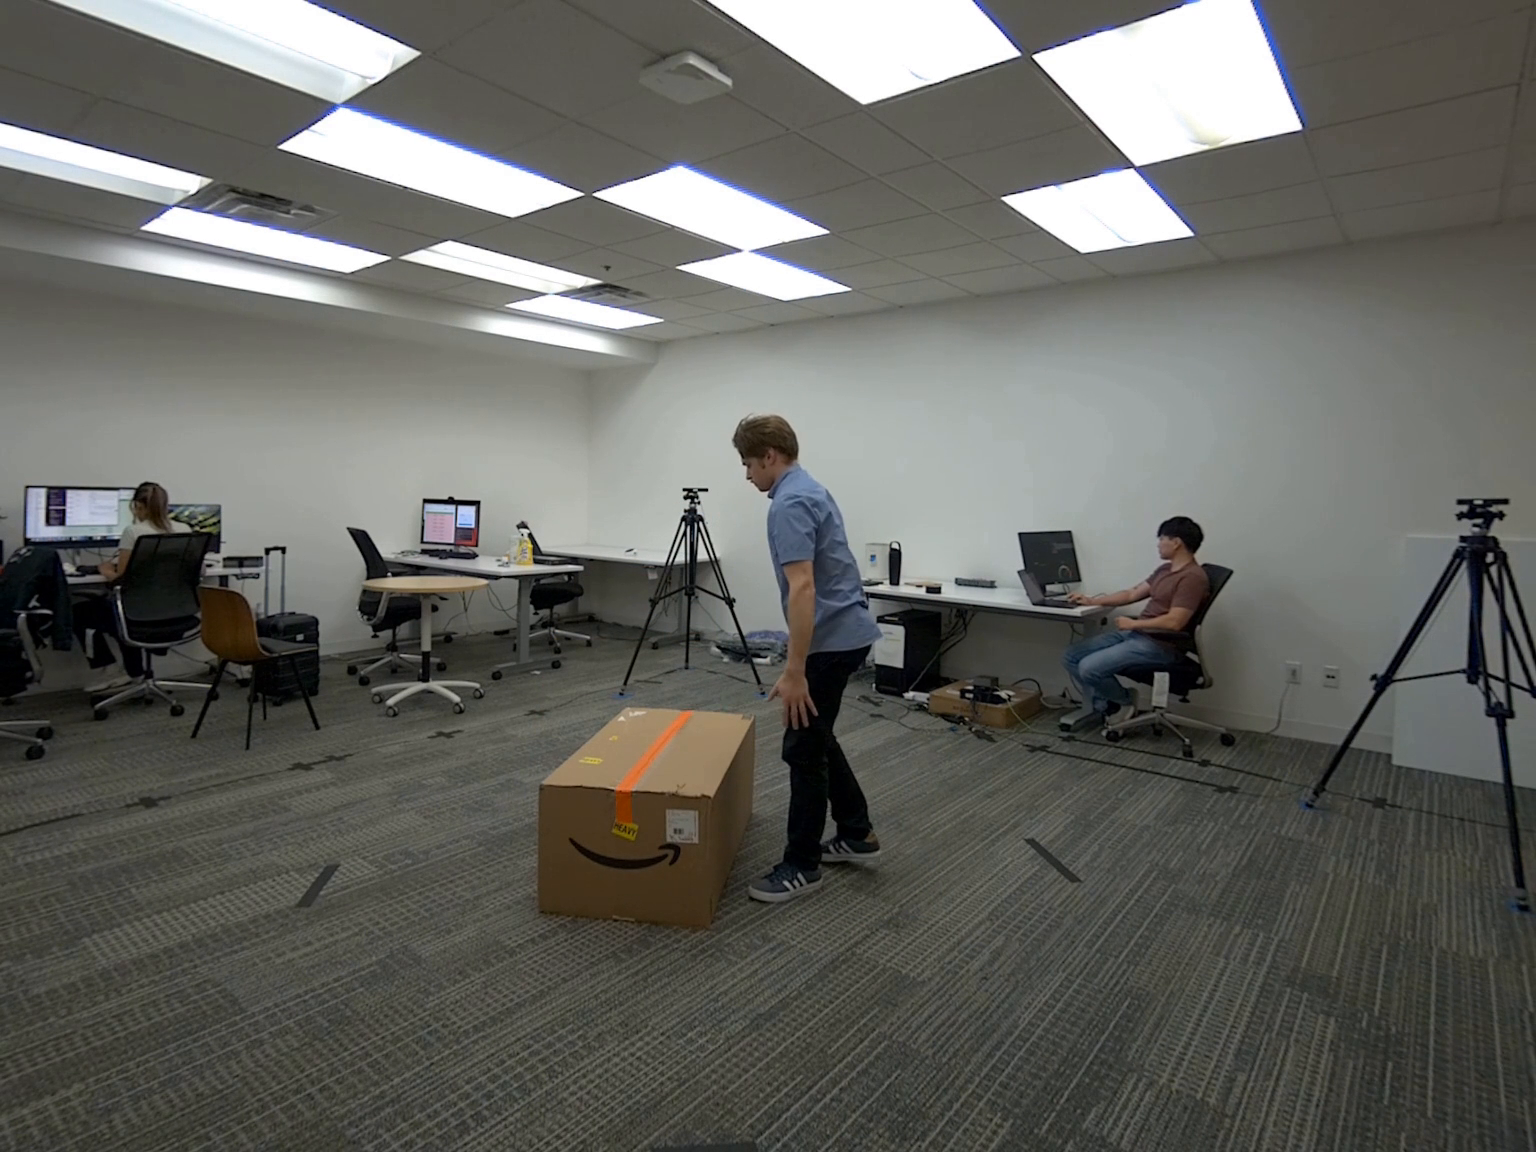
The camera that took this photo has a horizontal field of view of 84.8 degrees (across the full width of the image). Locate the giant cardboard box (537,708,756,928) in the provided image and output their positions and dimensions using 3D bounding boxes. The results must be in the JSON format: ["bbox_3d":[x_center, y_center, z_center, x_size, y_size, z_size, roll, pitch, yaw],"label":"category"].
[{"bbox_3d":[-0.414,0.842,3.205,0.589,0.445,1.021,3,5,7],"label":"giant cardboard box"}]
